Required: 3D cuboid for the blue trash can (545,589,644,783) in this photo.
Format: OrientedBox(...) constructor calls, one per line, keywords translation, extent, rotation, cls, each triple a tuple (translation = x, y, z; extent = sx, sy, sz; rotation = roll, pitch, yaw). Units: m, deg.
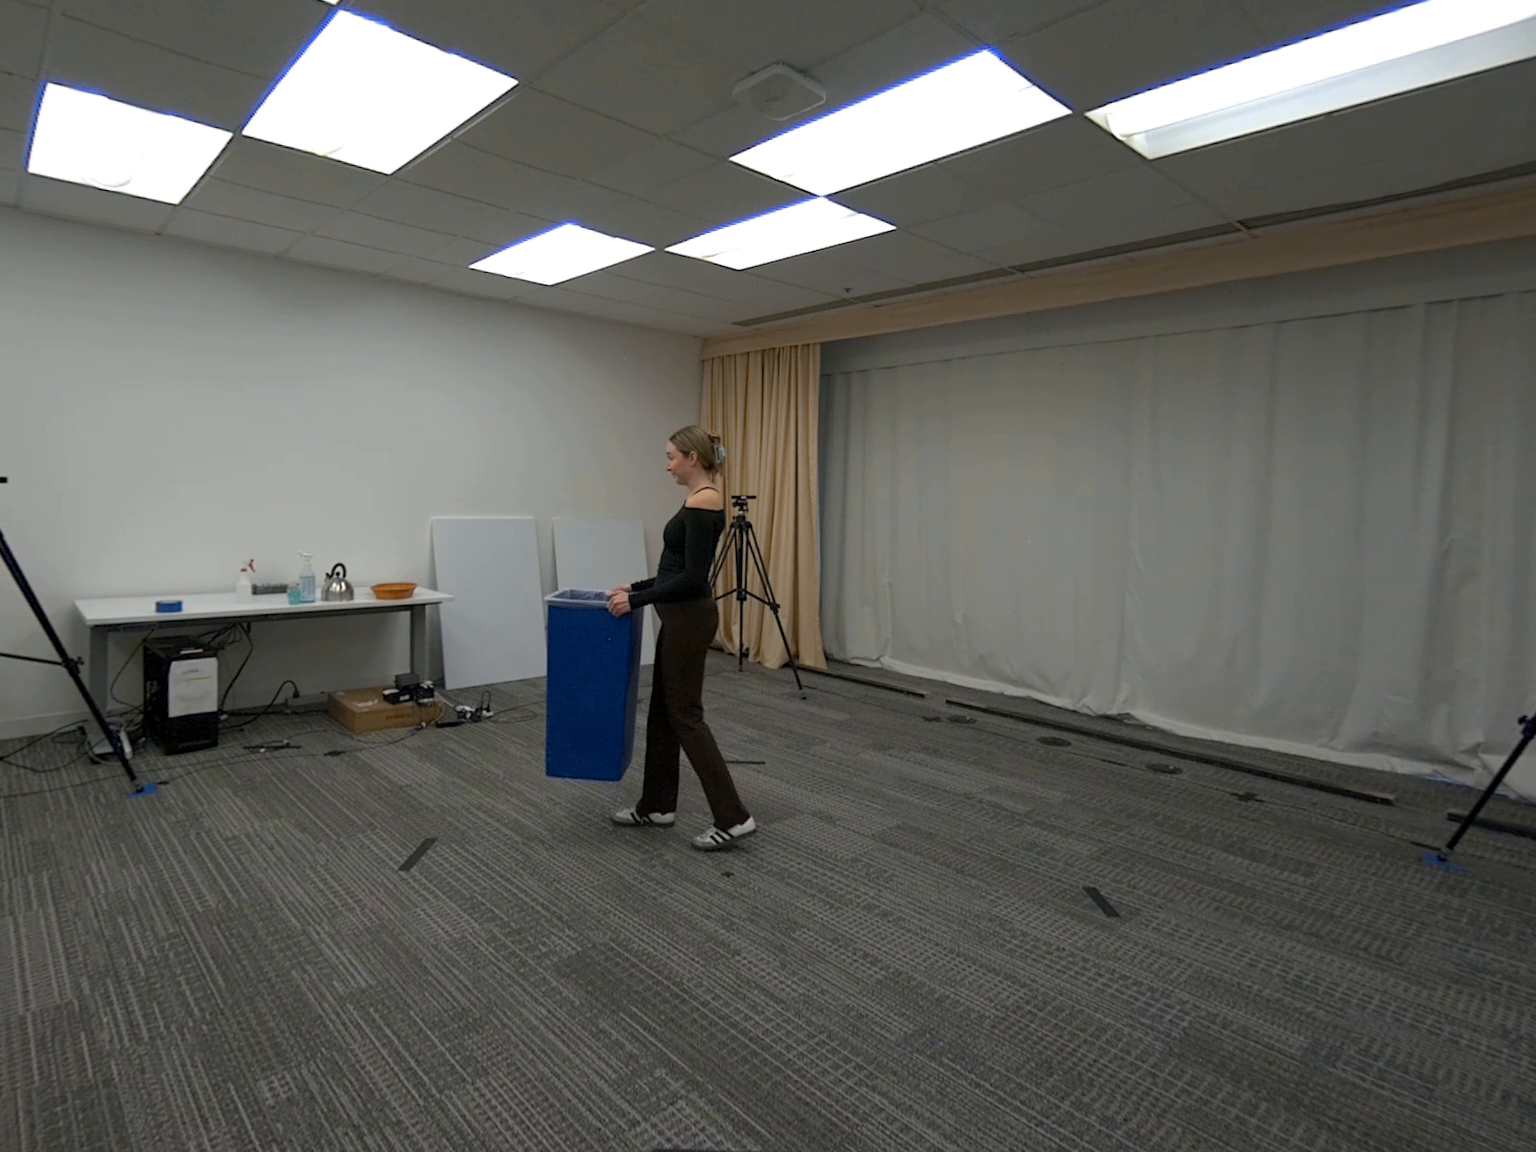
OrientedBox(translation=(-0.713, 0.435, 3.436), extent=(0.379, 0.712, 0.374), rotation=(3, 2, 2), cls="blue trash can")
